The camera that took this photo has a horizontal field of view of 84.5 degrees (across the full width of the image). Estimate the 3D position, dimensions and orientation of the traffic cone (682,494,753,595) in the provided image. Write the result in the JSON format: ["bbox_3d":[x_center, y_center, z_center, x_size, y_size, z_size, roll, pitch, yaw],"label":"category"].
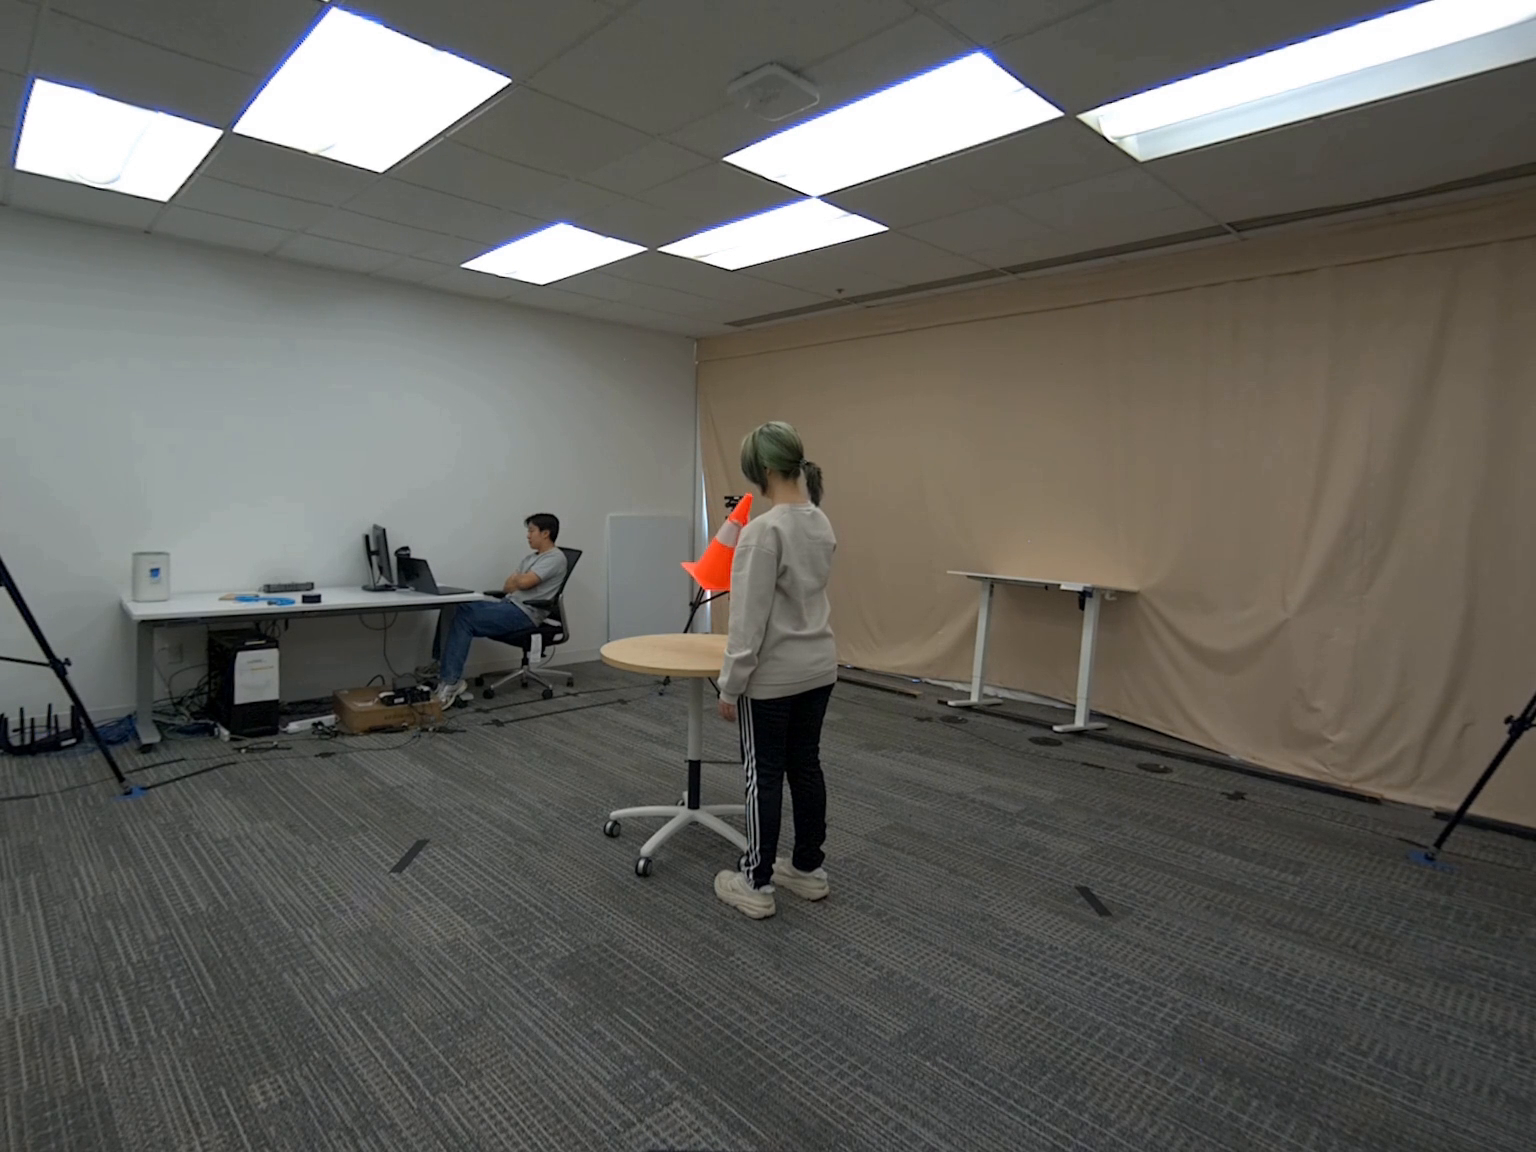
[{"bbox_3d":[-0.151,-0.151,3.303,0.209,0.381,0.200,39,25,32],"label":"traffic cone"}]
